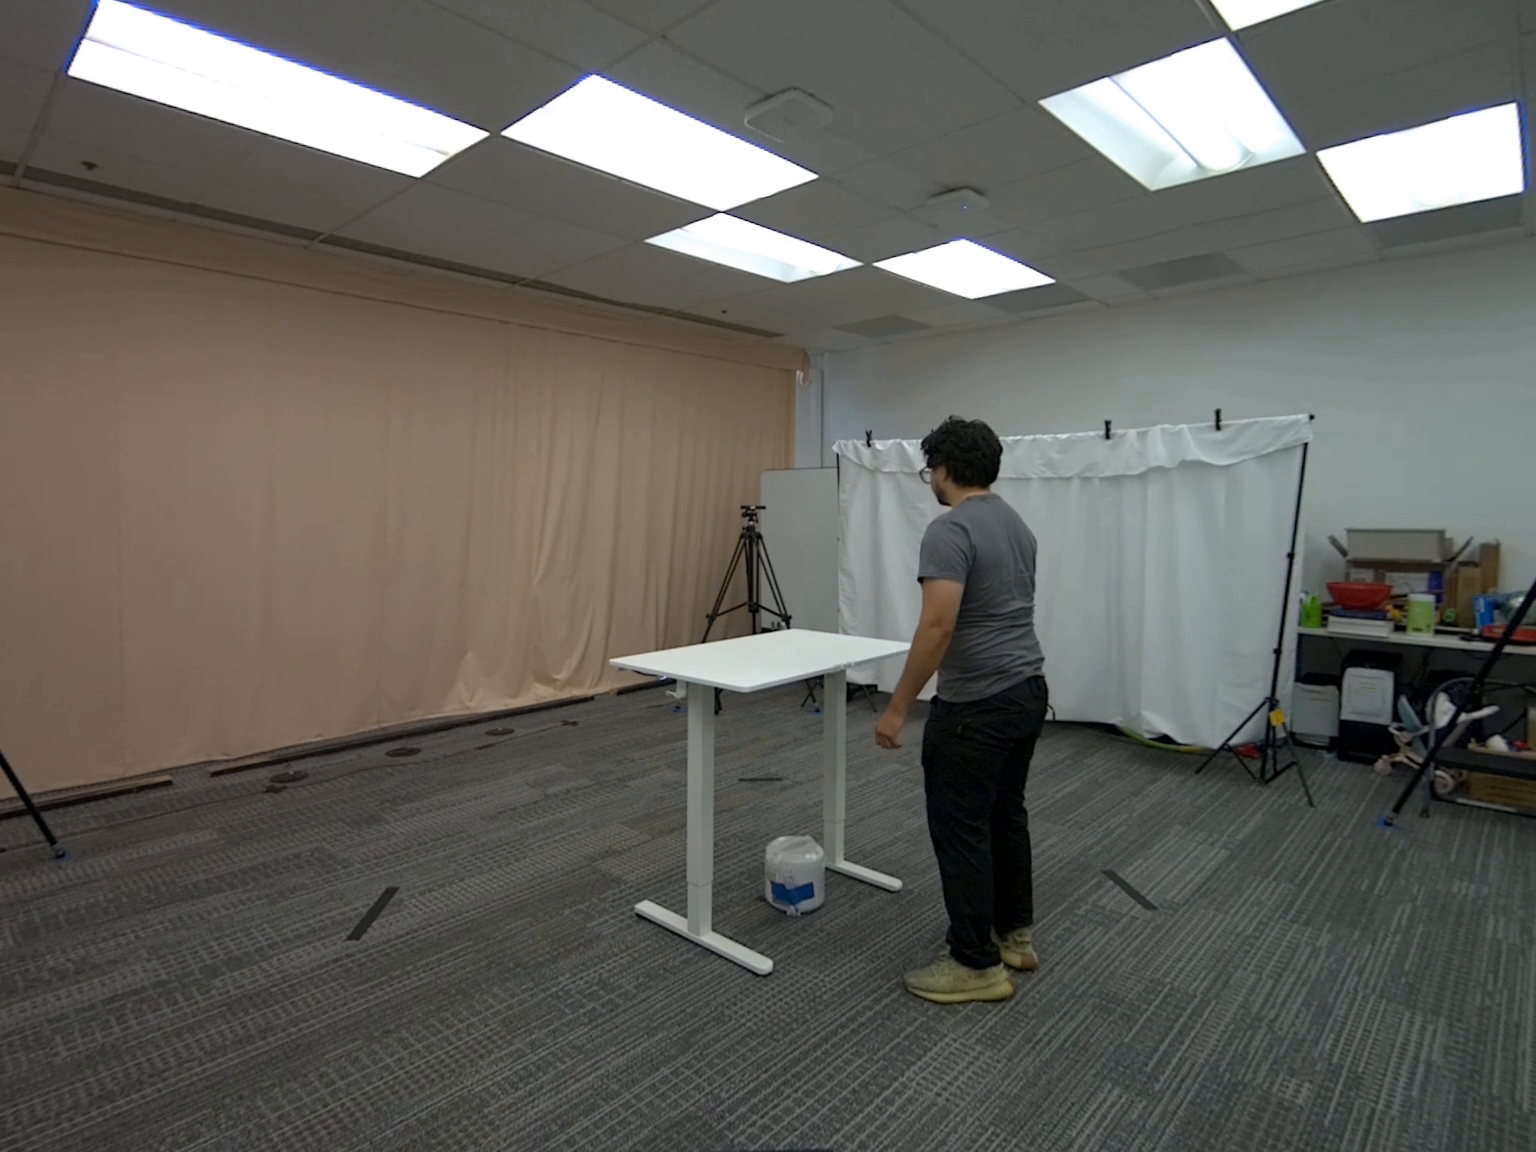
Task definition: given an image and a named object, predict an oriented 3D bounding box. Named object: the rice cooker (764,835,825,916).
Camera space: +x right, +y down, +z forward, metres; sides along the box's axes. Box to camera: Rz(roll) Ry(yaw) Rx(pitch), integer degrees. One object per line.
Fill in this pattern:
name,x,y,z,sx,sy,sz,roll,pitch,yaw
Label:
rice cooker,0.094,1.034,2.947,0.214,0.232,0.224,-3,6,-36
